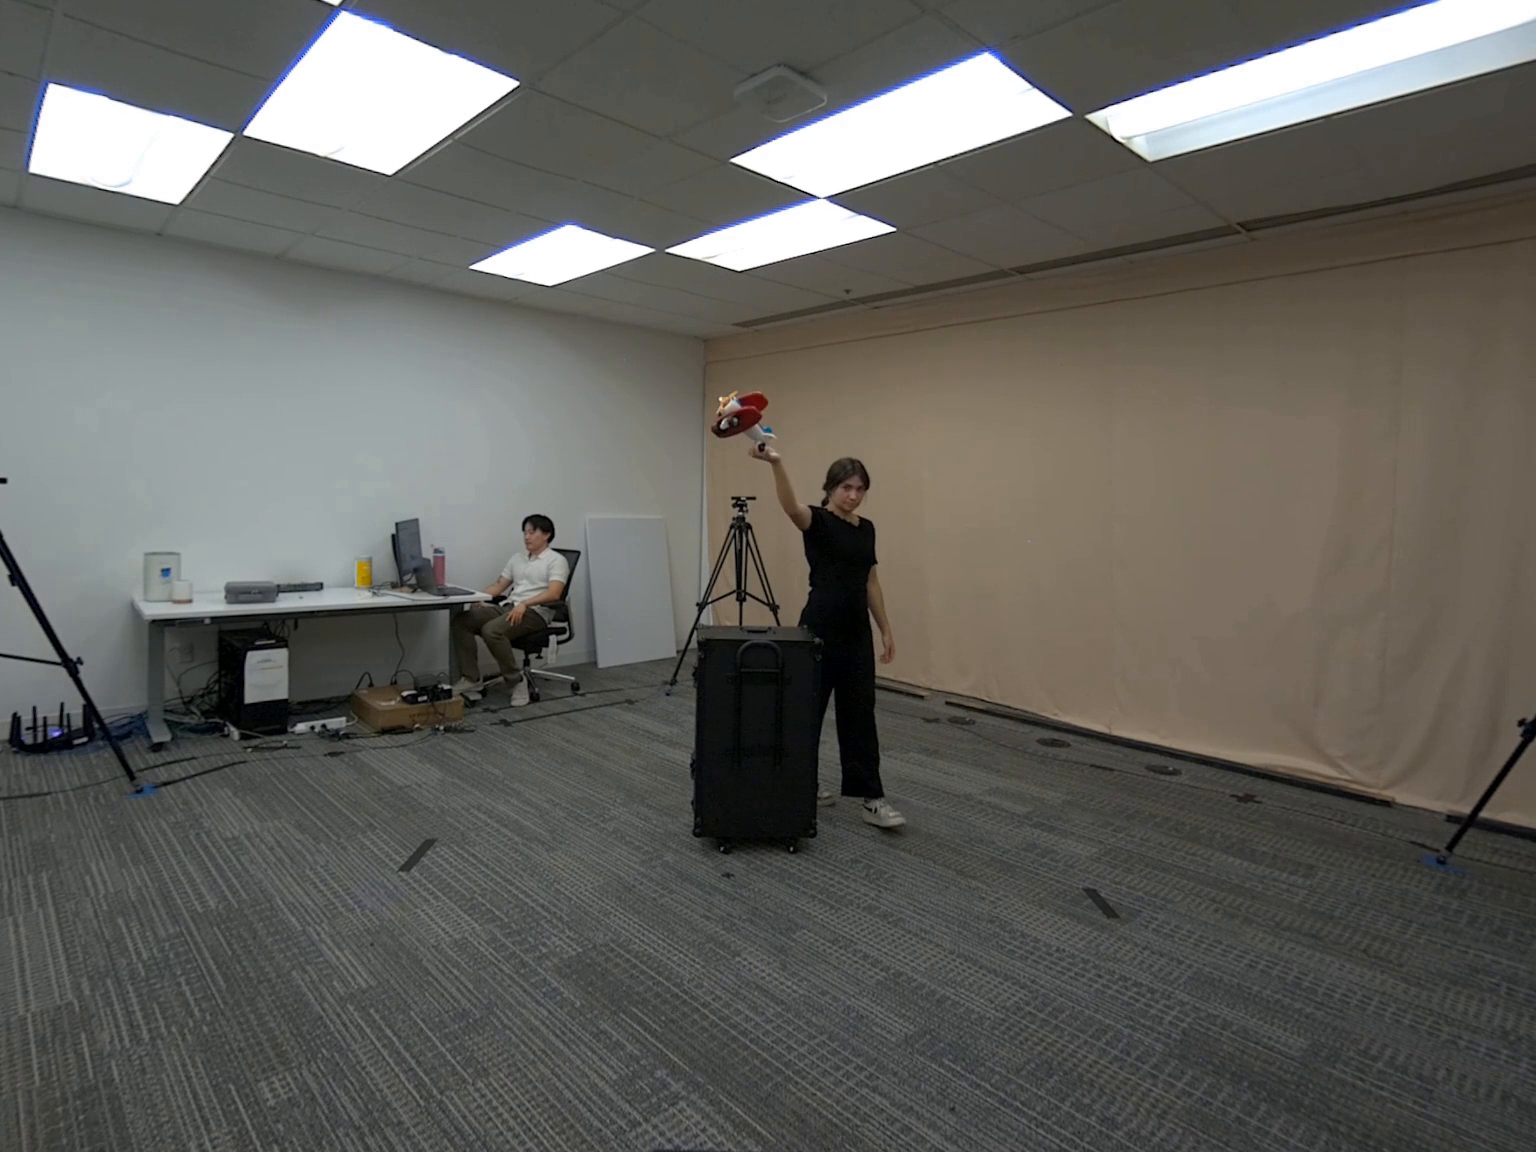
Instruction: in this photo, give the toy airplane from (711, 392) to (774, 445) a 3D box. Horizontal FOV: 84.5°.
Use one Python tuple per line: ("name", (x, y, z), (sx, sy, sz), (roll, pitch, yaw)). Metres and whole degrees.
("toy airplane", (-0.099, -0.591, 3.271), (0.255, 0.158, 0.252), (1, -25, 21))
